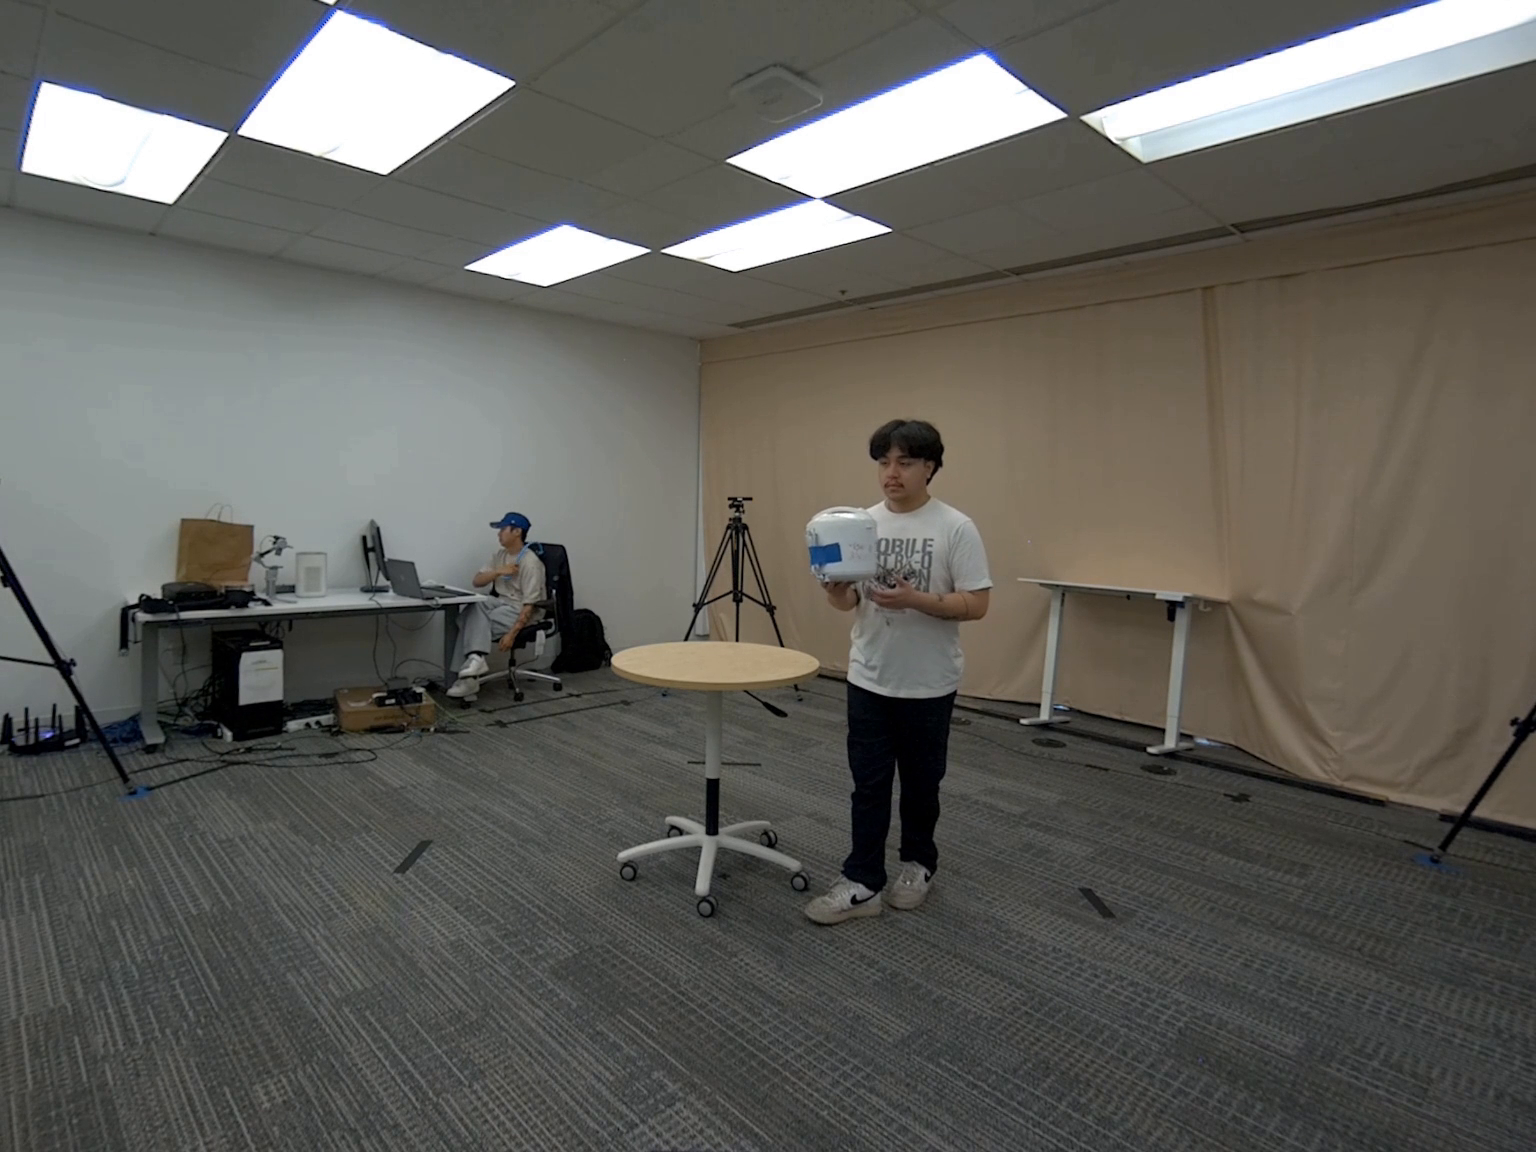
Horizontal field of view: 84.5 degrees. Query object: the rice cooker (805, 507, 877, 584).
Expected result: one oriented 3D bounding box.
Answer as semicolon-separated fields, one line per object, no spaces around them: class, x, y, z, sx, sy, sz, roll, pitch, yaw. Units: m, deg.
rice cooker;0.229;-0.097;2.620;0.222;0.233;0.216;-1;1;9
